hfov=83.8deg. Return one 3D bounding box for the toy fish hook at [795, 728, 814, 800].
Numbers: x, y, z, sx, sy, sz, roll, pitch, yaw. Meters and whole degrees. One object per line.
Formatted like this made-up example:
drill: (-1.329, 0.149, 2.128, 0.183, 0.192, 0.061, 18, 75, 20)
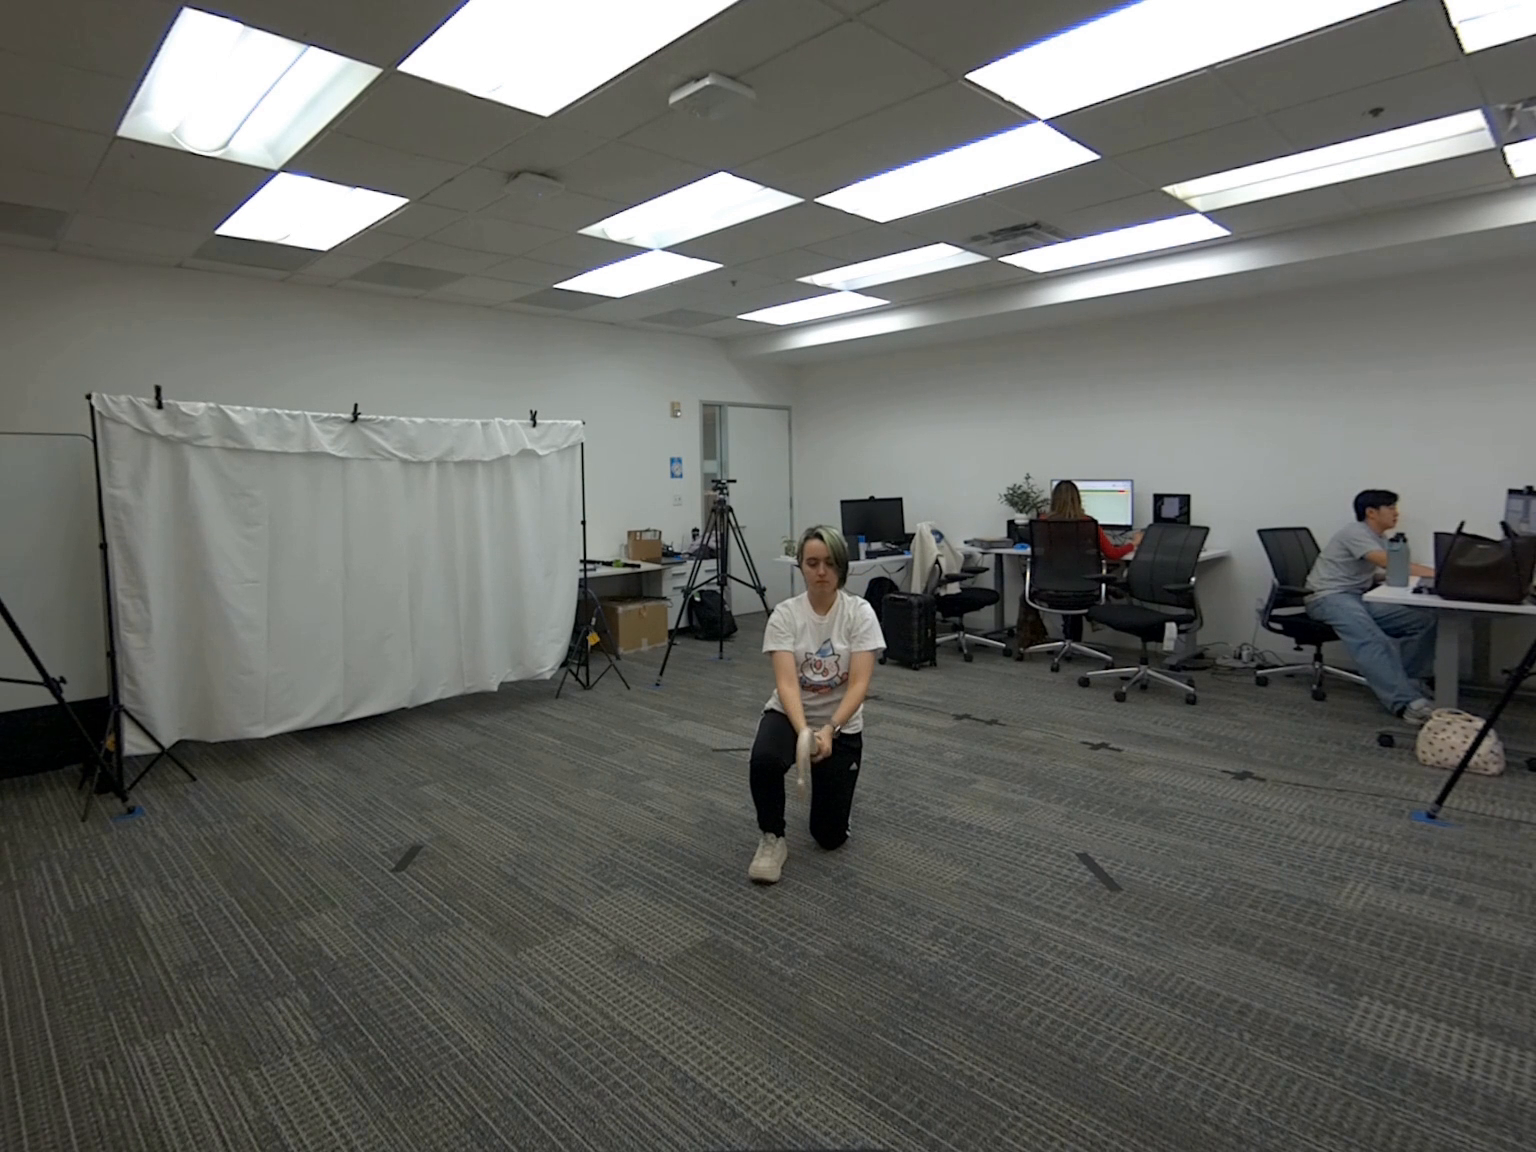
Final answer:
toy fish hook: (0.132, 0.574, 2.624, 0.049, 0.227, 0.496, 2, -10, 10)
